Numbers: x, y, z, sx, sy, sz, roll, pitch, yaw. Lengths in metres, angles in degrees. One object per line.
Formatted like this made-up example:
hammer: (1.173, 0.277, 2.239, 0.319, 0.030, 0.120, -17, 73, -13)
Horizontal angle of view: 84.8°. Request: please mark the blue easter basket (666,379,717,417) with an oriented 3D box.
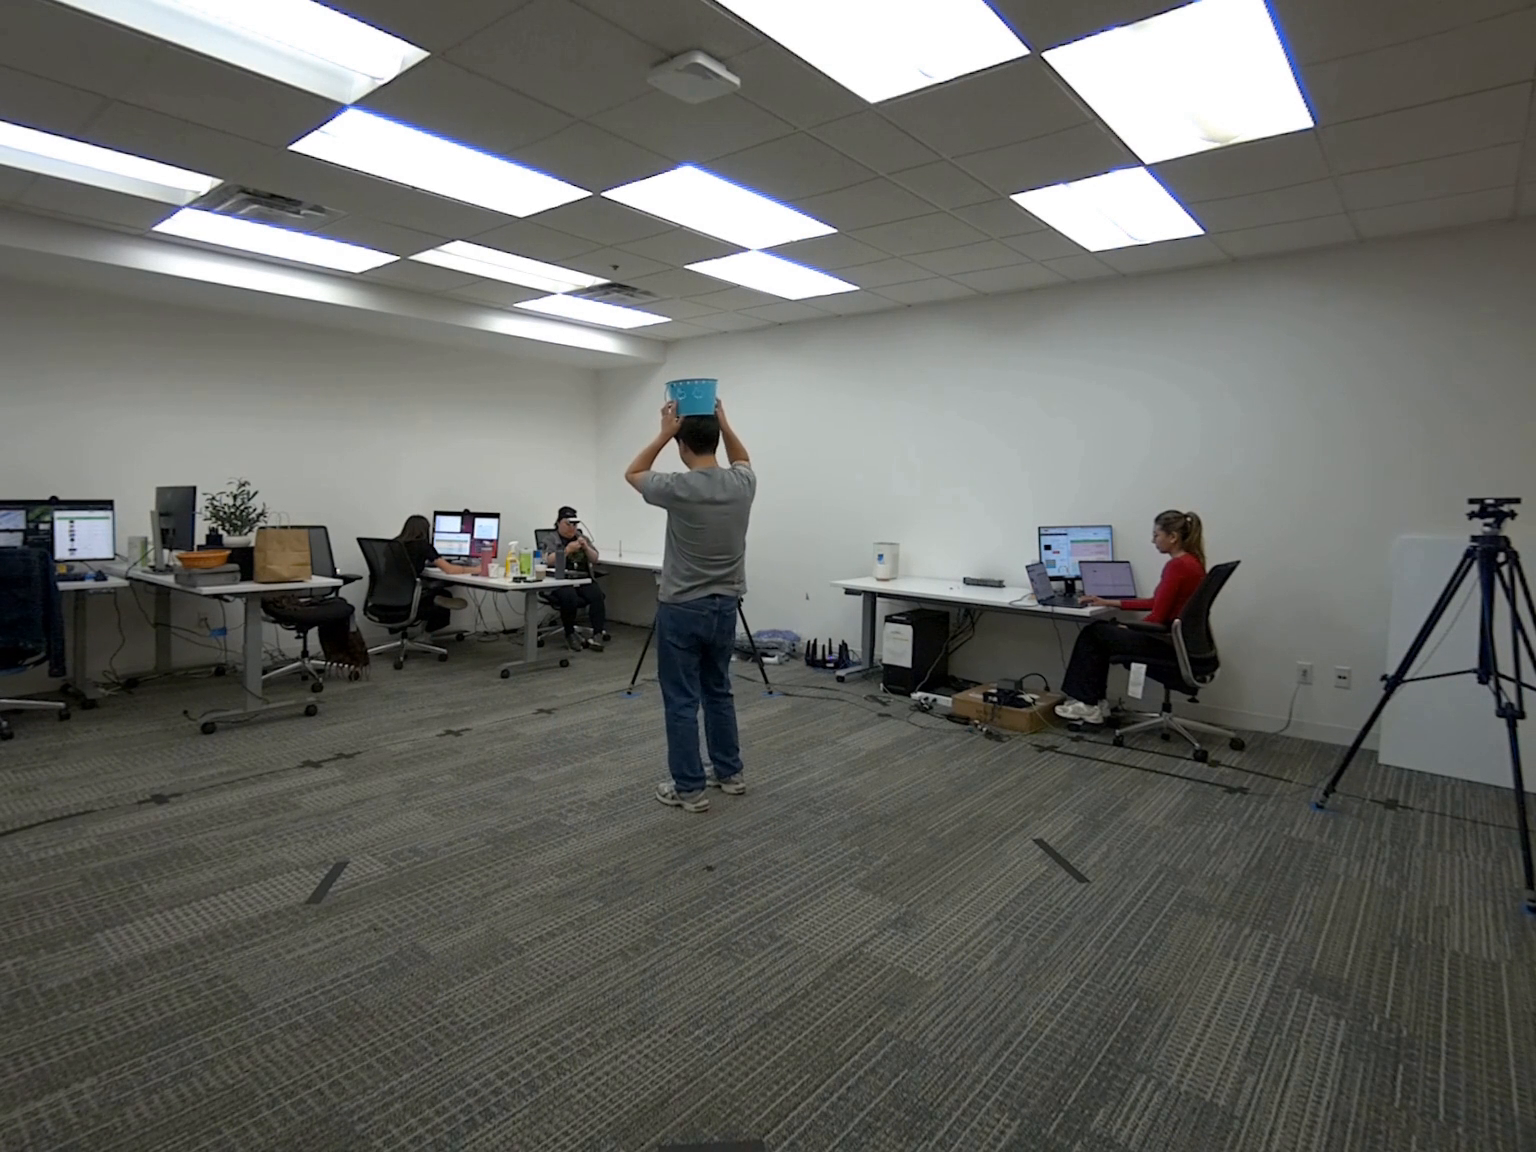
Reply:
blue easter basket: (-0.343, -0.784, 3.745, 0.243, 0.155, 0.245, -3, 6, -2)
